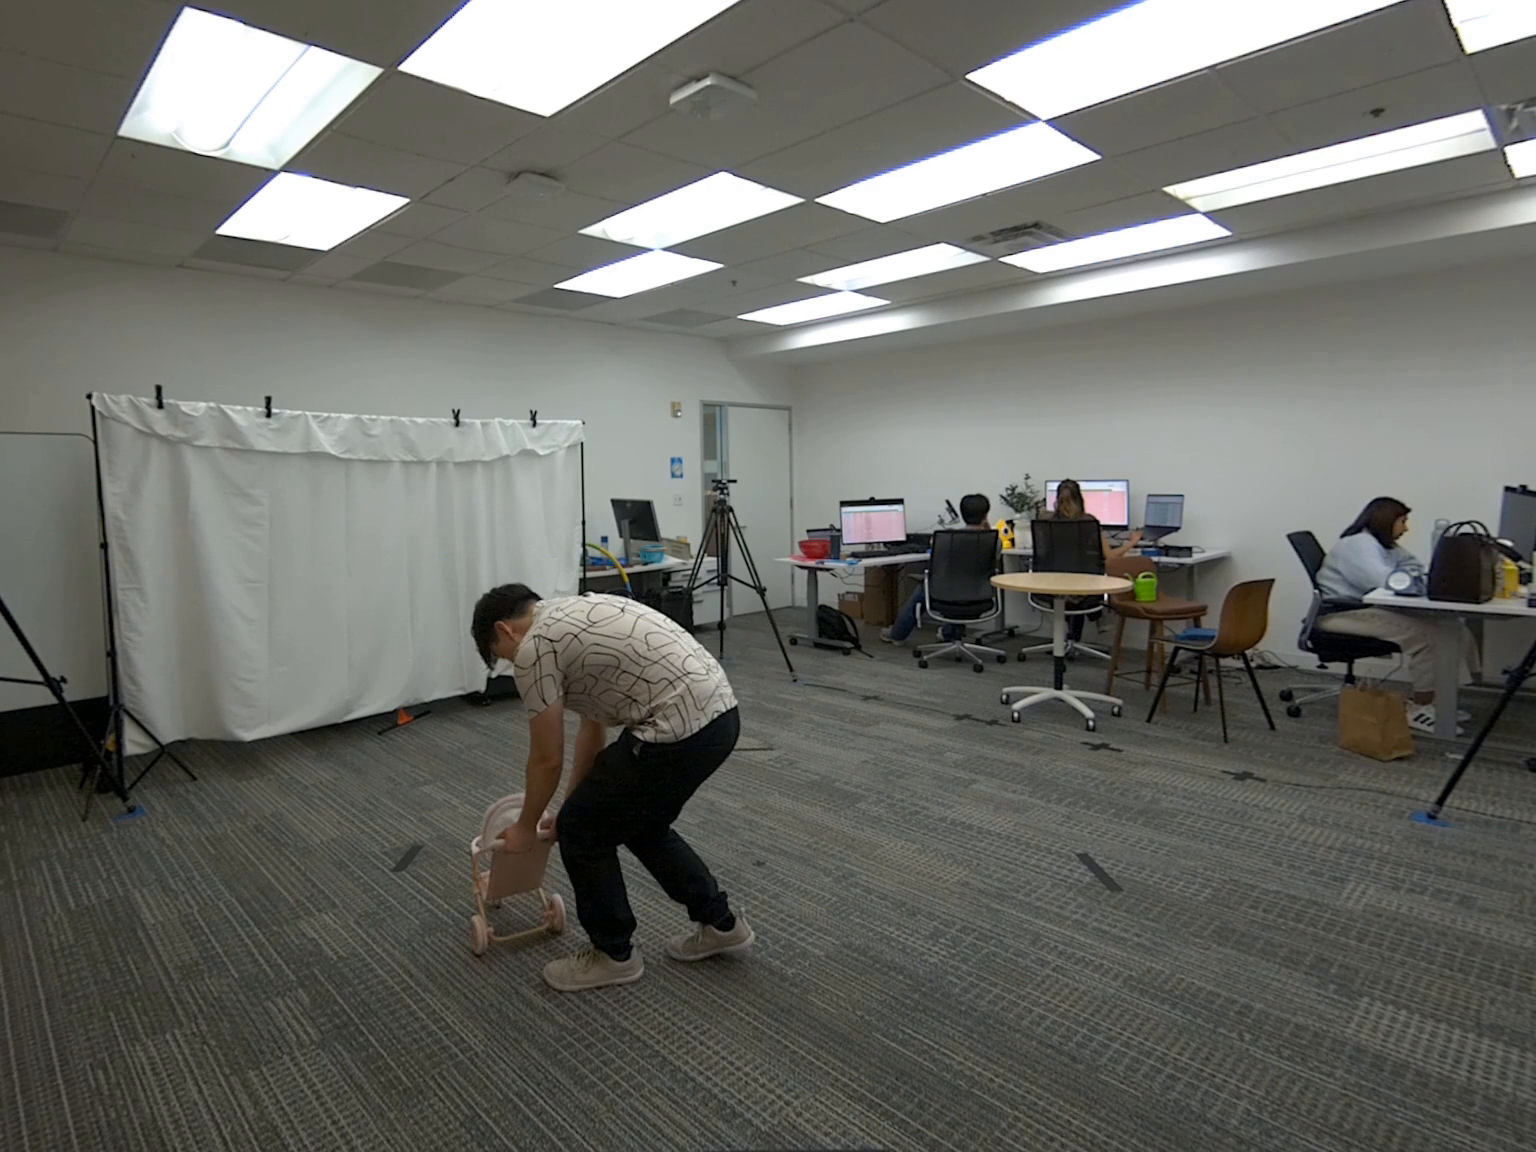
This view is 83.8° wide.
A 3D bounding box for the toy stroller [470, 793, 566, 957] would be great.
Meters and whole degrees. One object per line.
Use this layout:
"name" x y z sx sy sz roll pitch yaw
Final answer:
"toy stroller" -0.789 0.894 2.654 0.275 0.527 0.354 -2 23 -28
